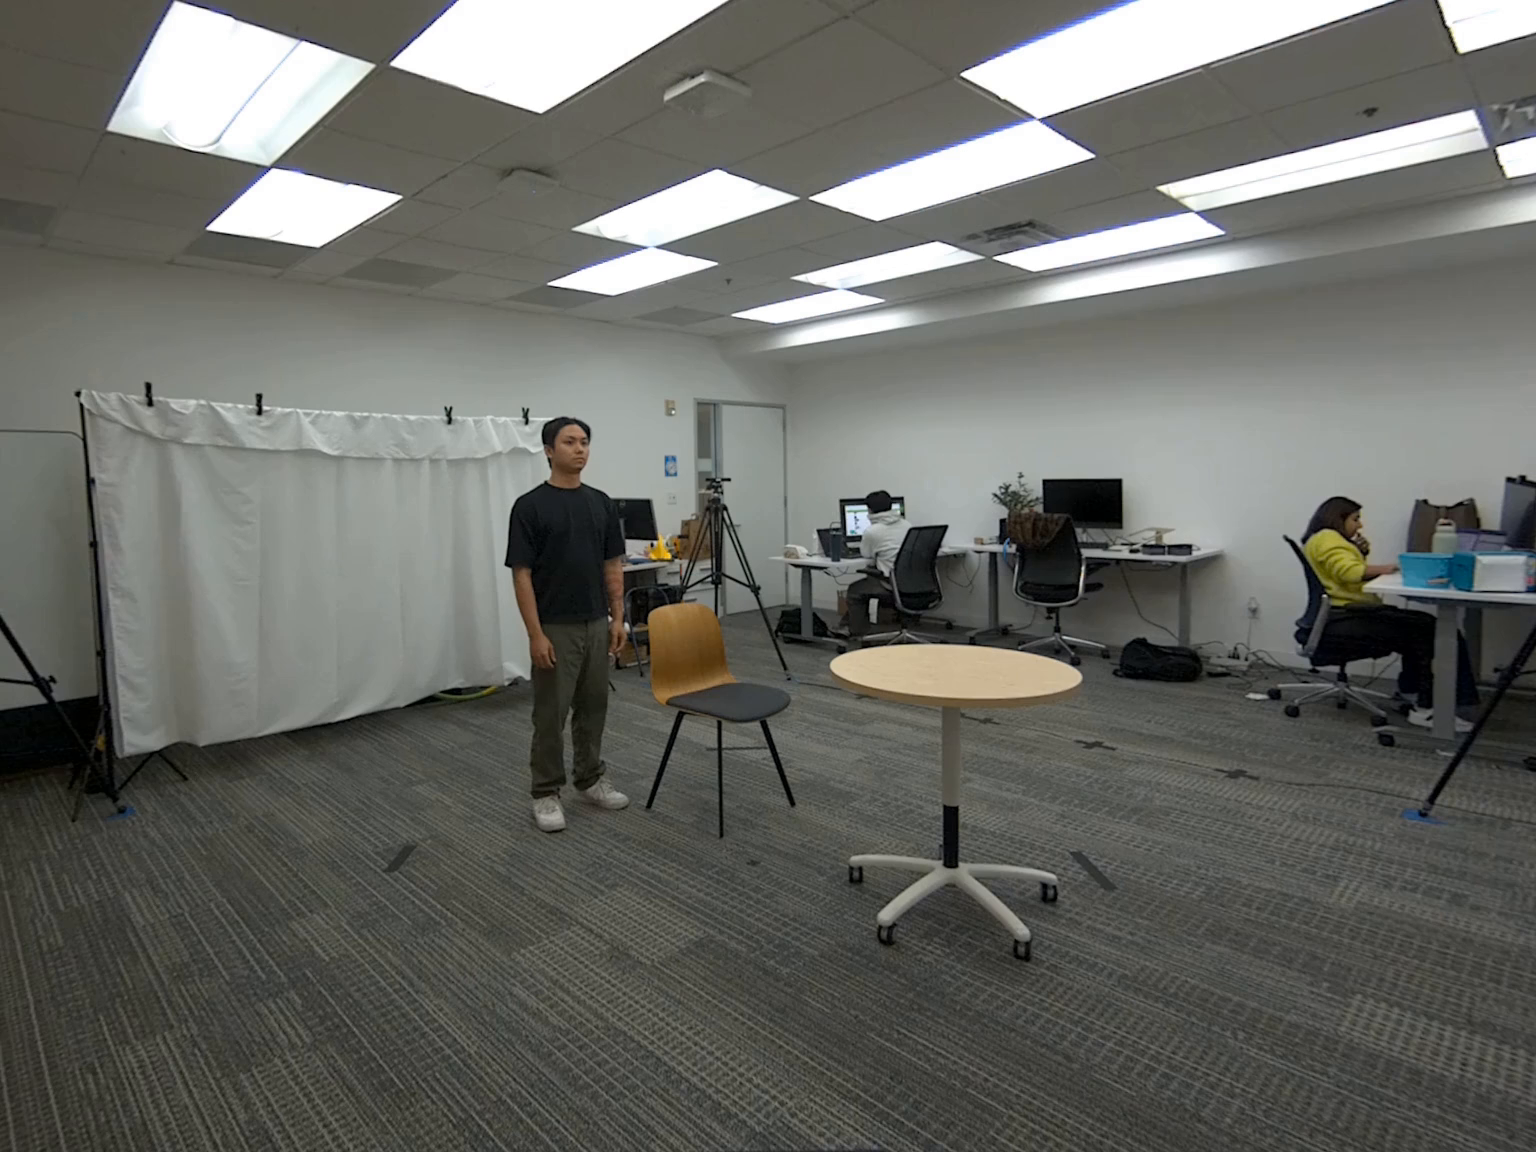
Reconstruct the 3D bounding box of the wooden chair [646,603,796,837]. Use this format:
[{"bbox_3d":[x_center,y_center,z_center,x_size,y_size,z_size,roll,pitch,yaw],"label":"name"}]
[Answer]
[{"bbox_3d":[-0.205,0.558,3.595,0.537,0.877,0.465,-3,1,44],"label":"wooden chair"}]
